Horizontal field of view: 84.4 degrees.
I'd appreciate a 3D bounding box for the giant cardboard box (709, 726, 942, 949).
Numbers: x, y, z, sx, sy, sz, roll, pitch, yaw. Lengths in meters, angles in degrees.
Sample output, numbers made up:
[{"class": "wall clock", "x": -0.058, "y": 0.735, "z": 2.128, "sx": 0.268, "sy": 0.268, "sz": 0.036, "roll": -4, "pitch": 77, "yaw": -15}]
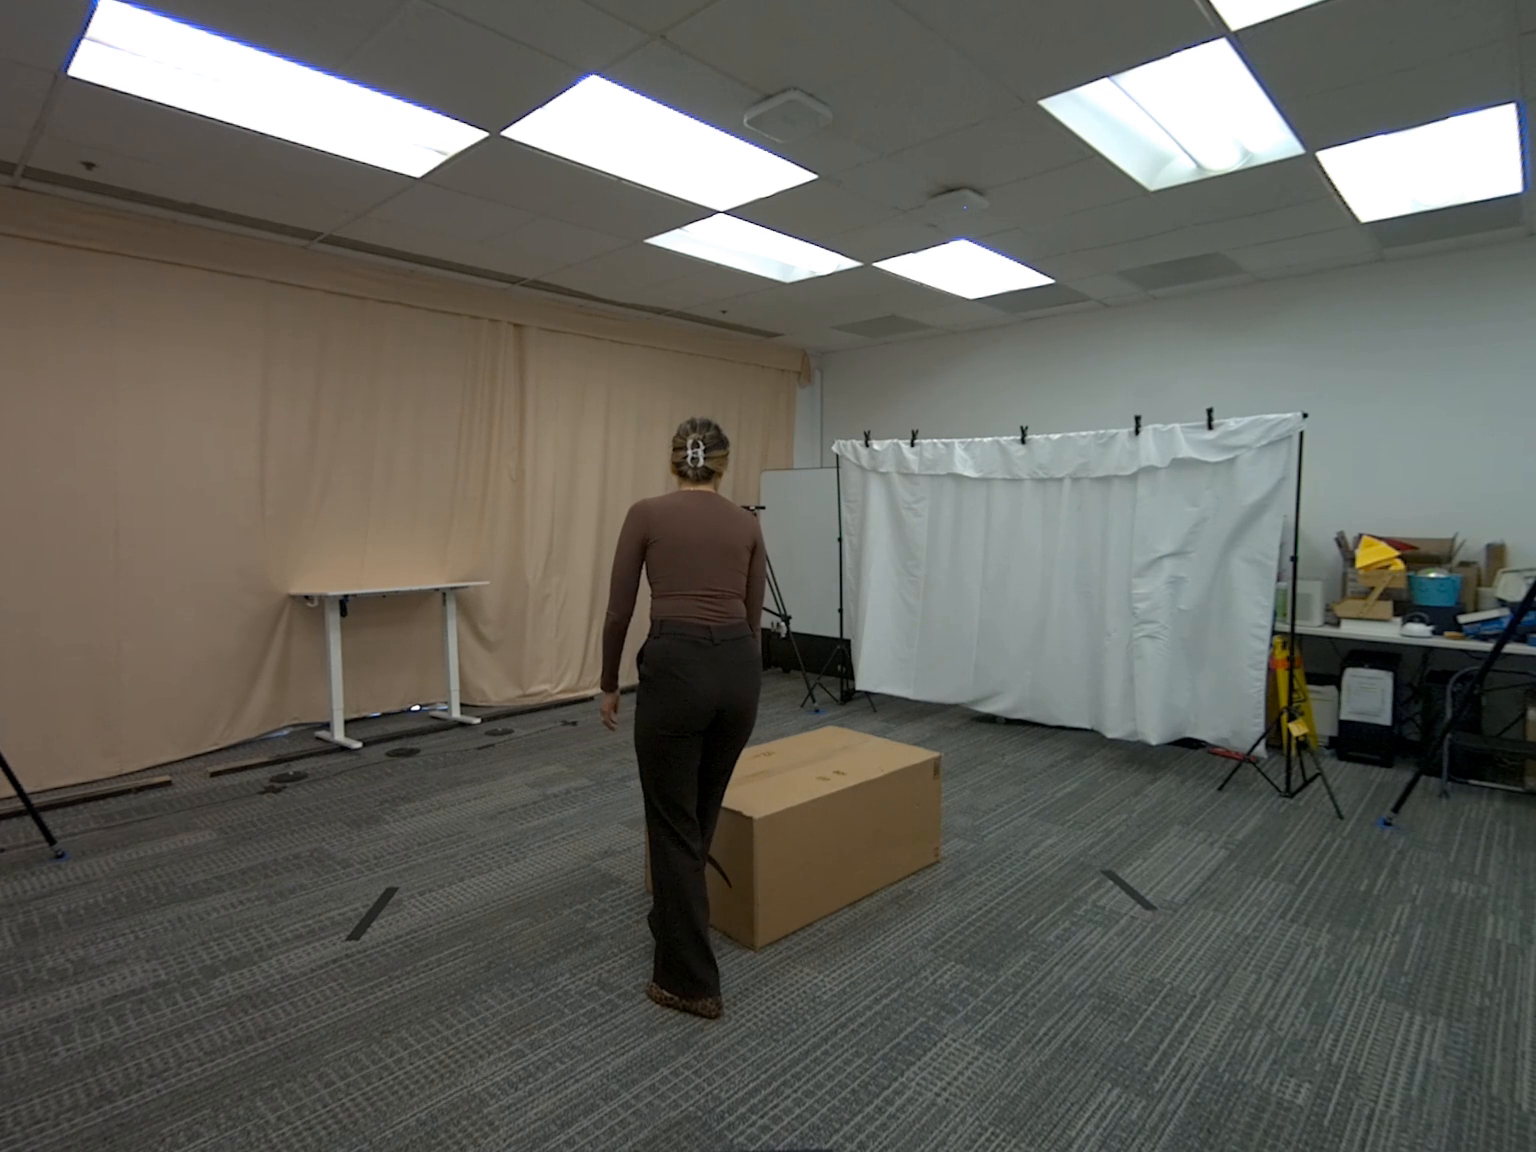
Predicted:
[{"class": "giant cardboard box", "x": 0.122, "y": 0.919, "z": 3.170, "sx": 0.995, "sy": 0.446, "sz": 0.603, "roll": -4, "pitch": 4, "yaw": -43}]
